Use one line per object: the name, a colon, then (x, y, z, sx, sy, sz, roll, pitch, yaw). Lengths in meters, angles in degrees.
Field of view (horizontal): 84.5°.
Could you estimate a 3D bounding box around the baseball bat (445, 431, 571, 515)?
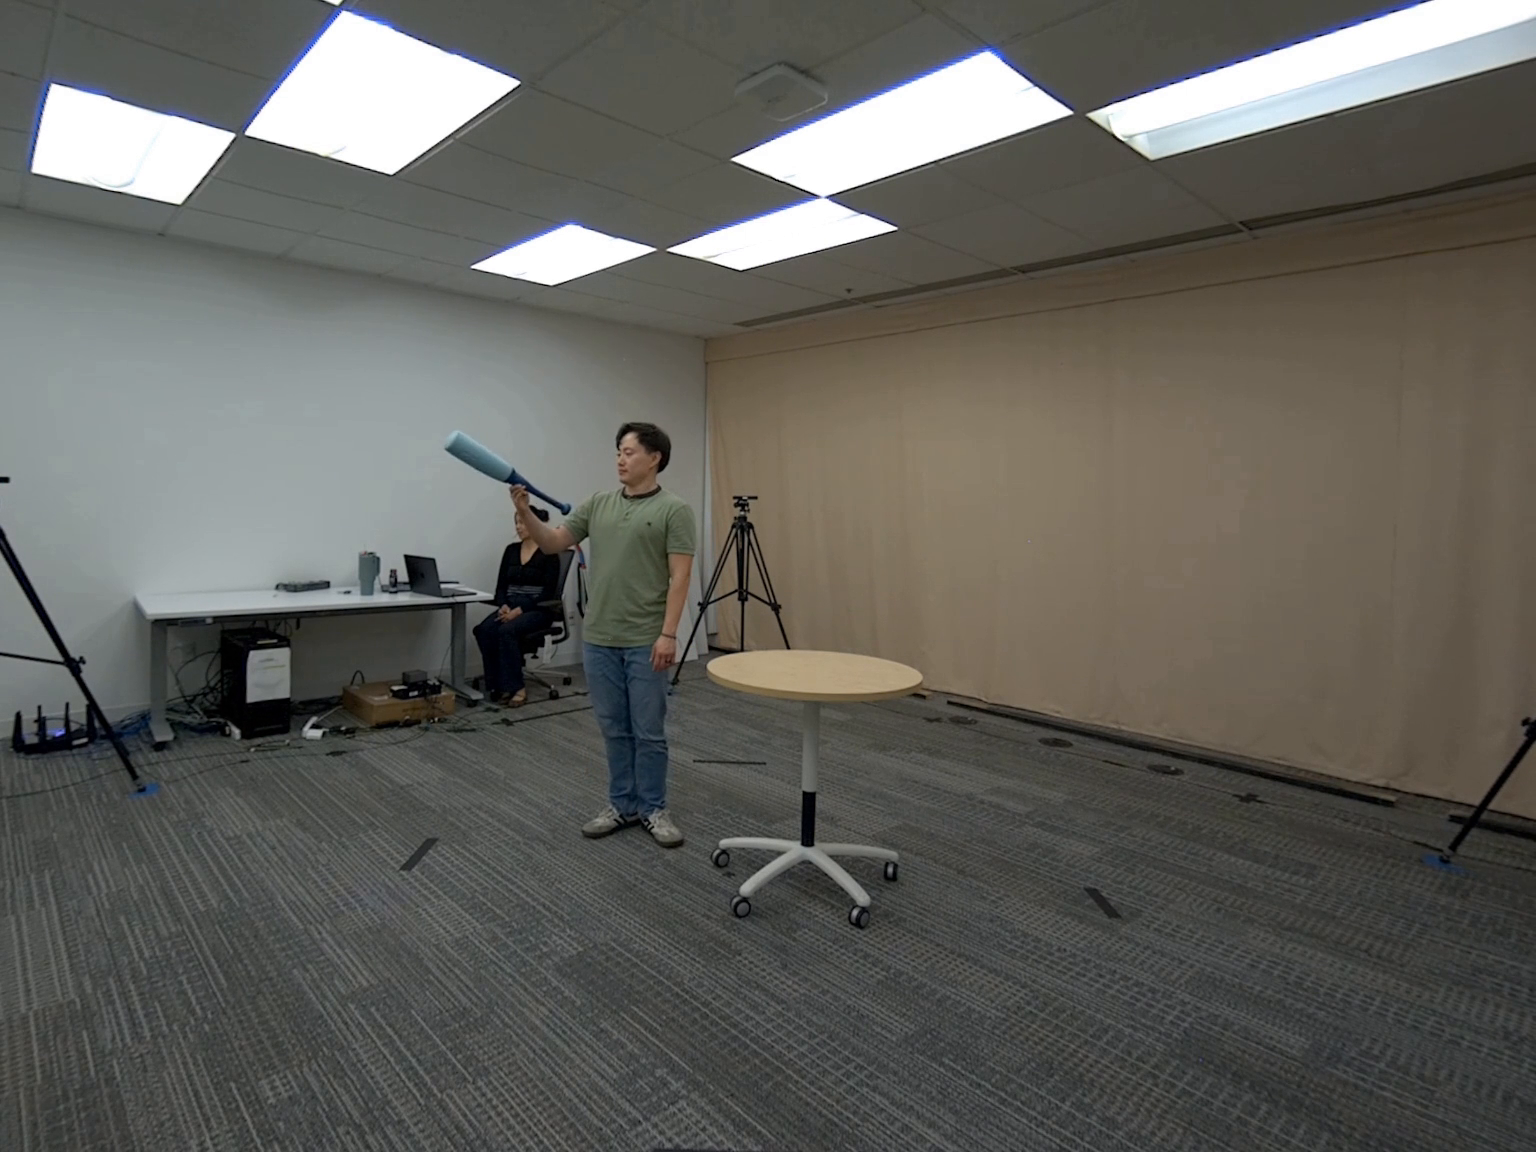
baseball bat: (-0.971, -0.370, 3.159, 0.527, 0.089, 0.091, 35, -18, -36)
